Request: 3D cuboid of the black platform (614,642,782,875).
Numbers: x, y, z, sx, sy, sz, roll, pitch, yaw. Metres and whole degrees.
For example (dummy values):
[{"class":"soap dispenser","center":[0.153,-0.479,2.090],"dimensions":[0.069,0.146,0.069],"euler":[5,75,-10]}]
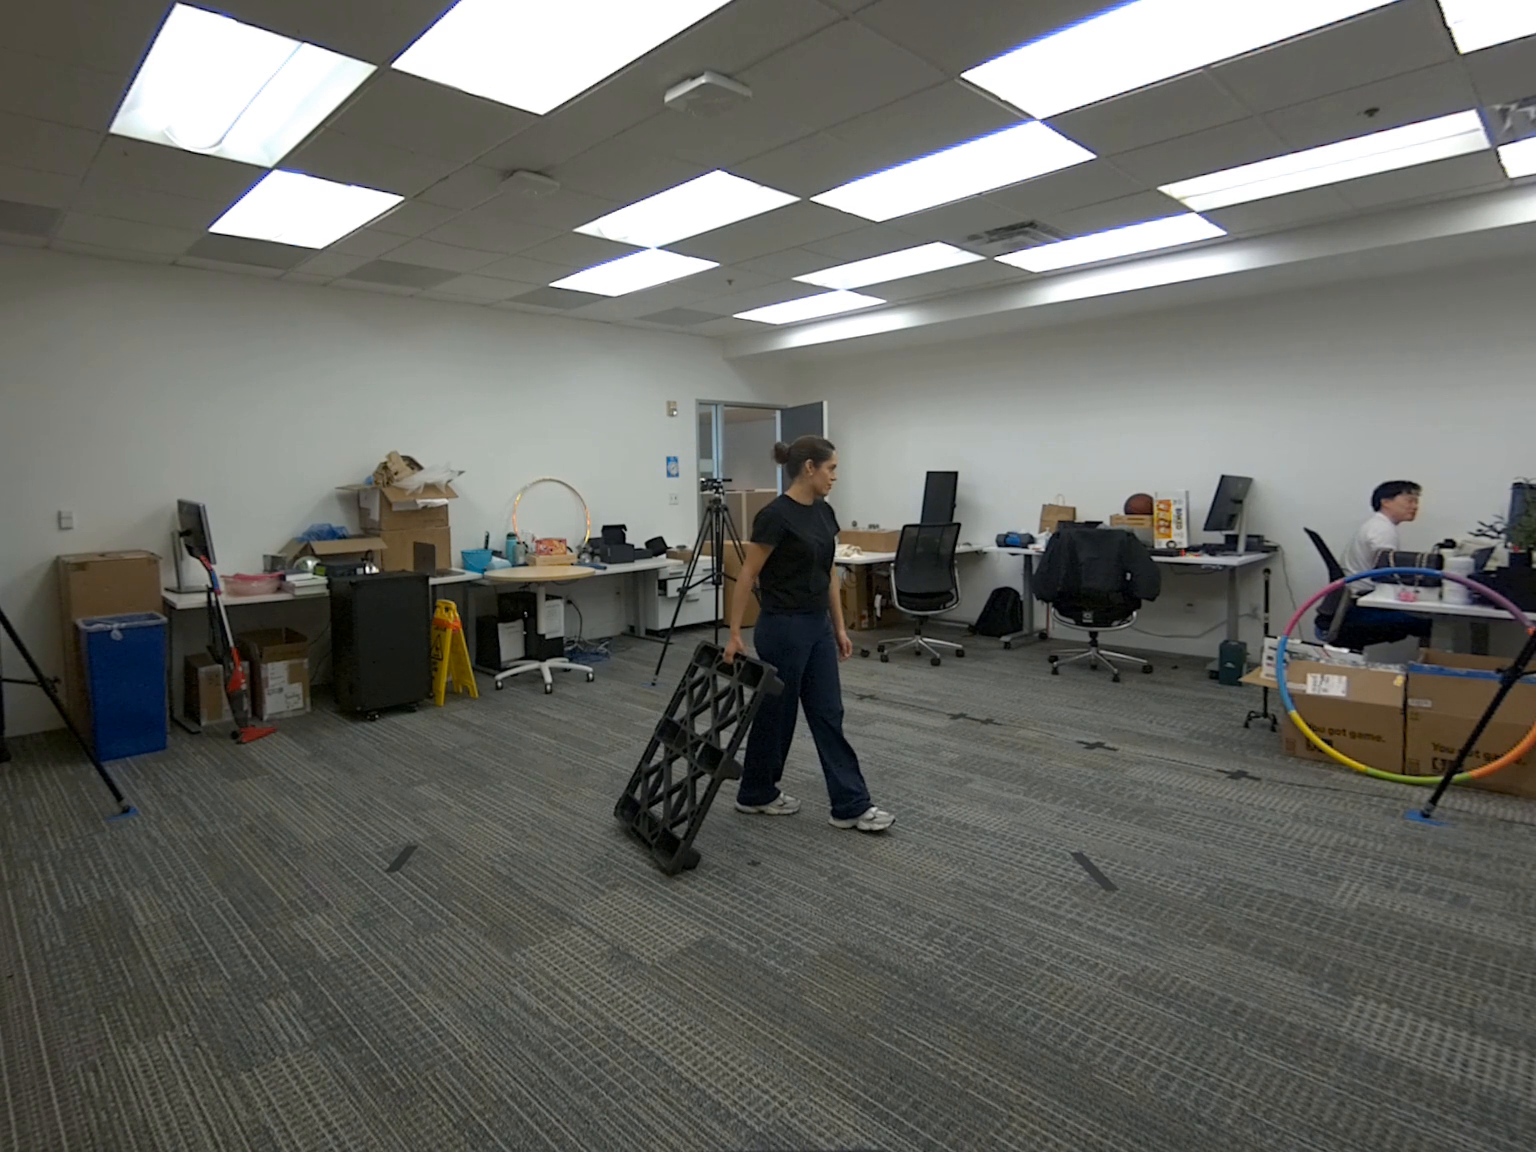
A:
[{"class":"black platform","center":[-0.260,0.670,3.322],"dimensions":[0.139,0.808,0.622],"euler":[32,-11,-28]}]
